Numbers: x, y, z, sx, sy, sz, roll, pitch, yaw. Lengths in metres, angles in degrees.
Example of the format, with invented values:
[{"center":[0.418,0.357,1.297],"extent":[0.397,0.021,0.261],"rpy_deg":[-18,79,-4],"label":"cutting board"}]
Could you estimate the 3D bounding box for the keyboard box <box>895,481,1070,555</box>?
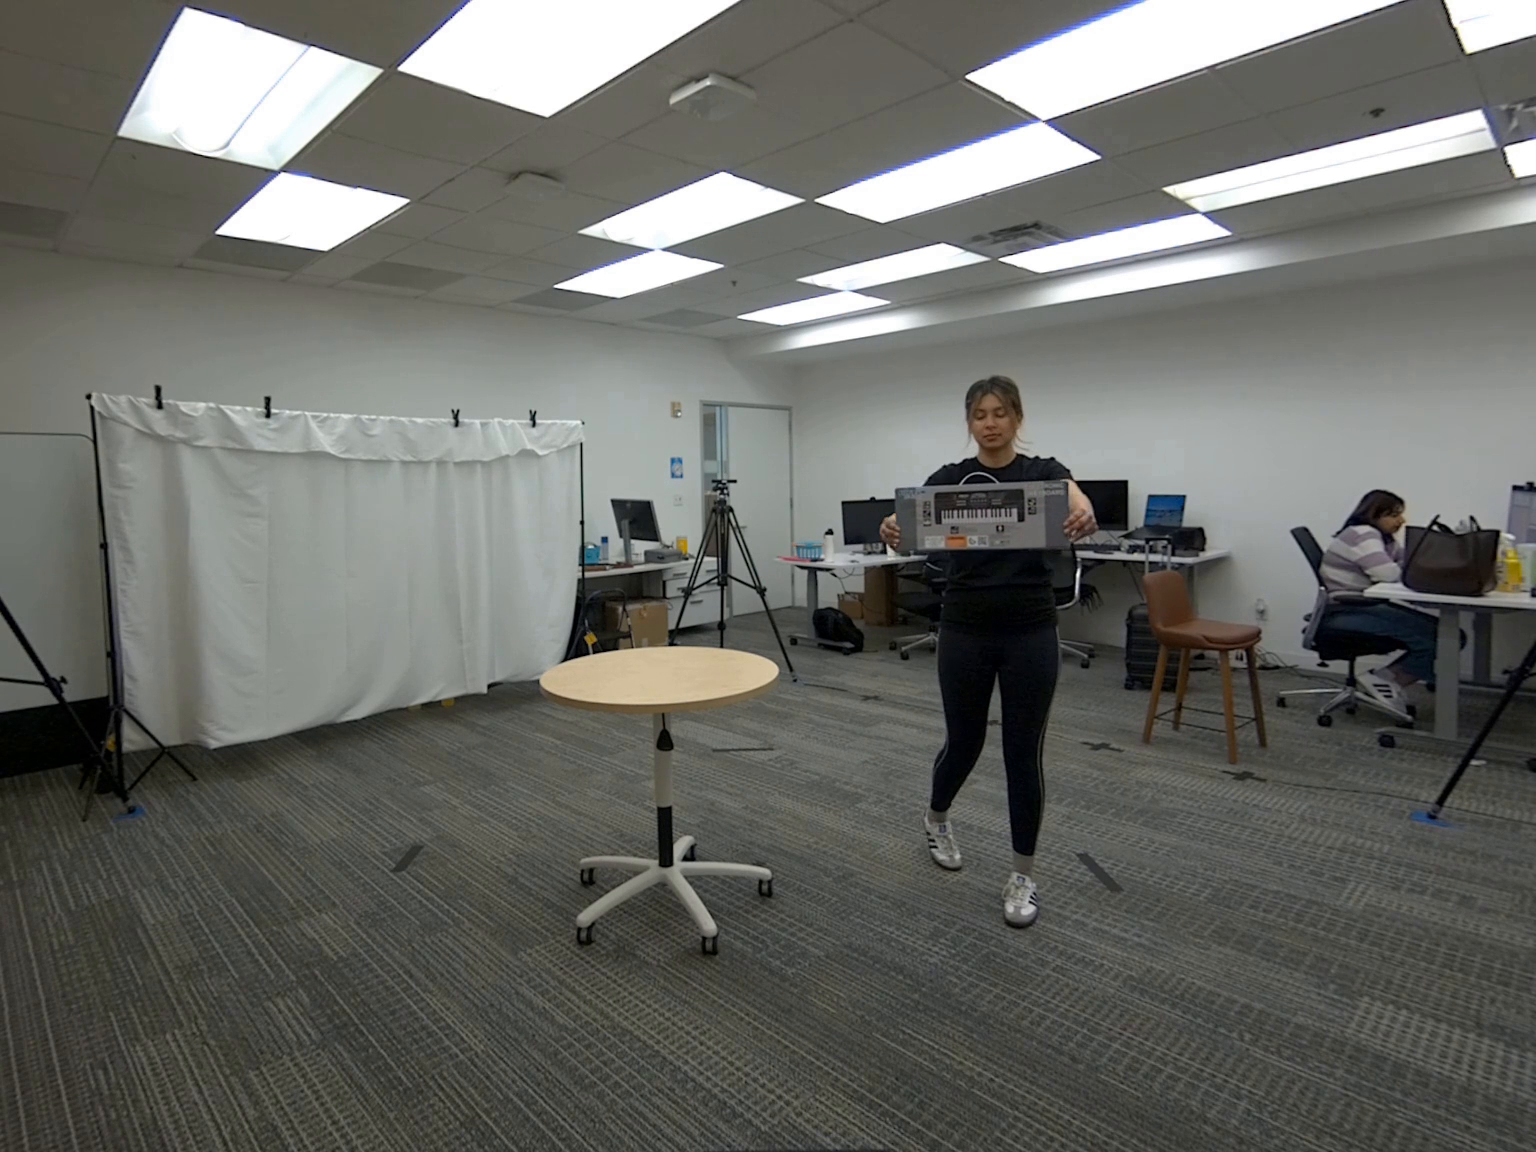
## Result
[{"center":[0.561,-0.152,2.269],"extent":[0.445,0.176,0.058],"rpy_deg":[-1,1,21],"label":"keyboard box"}]
